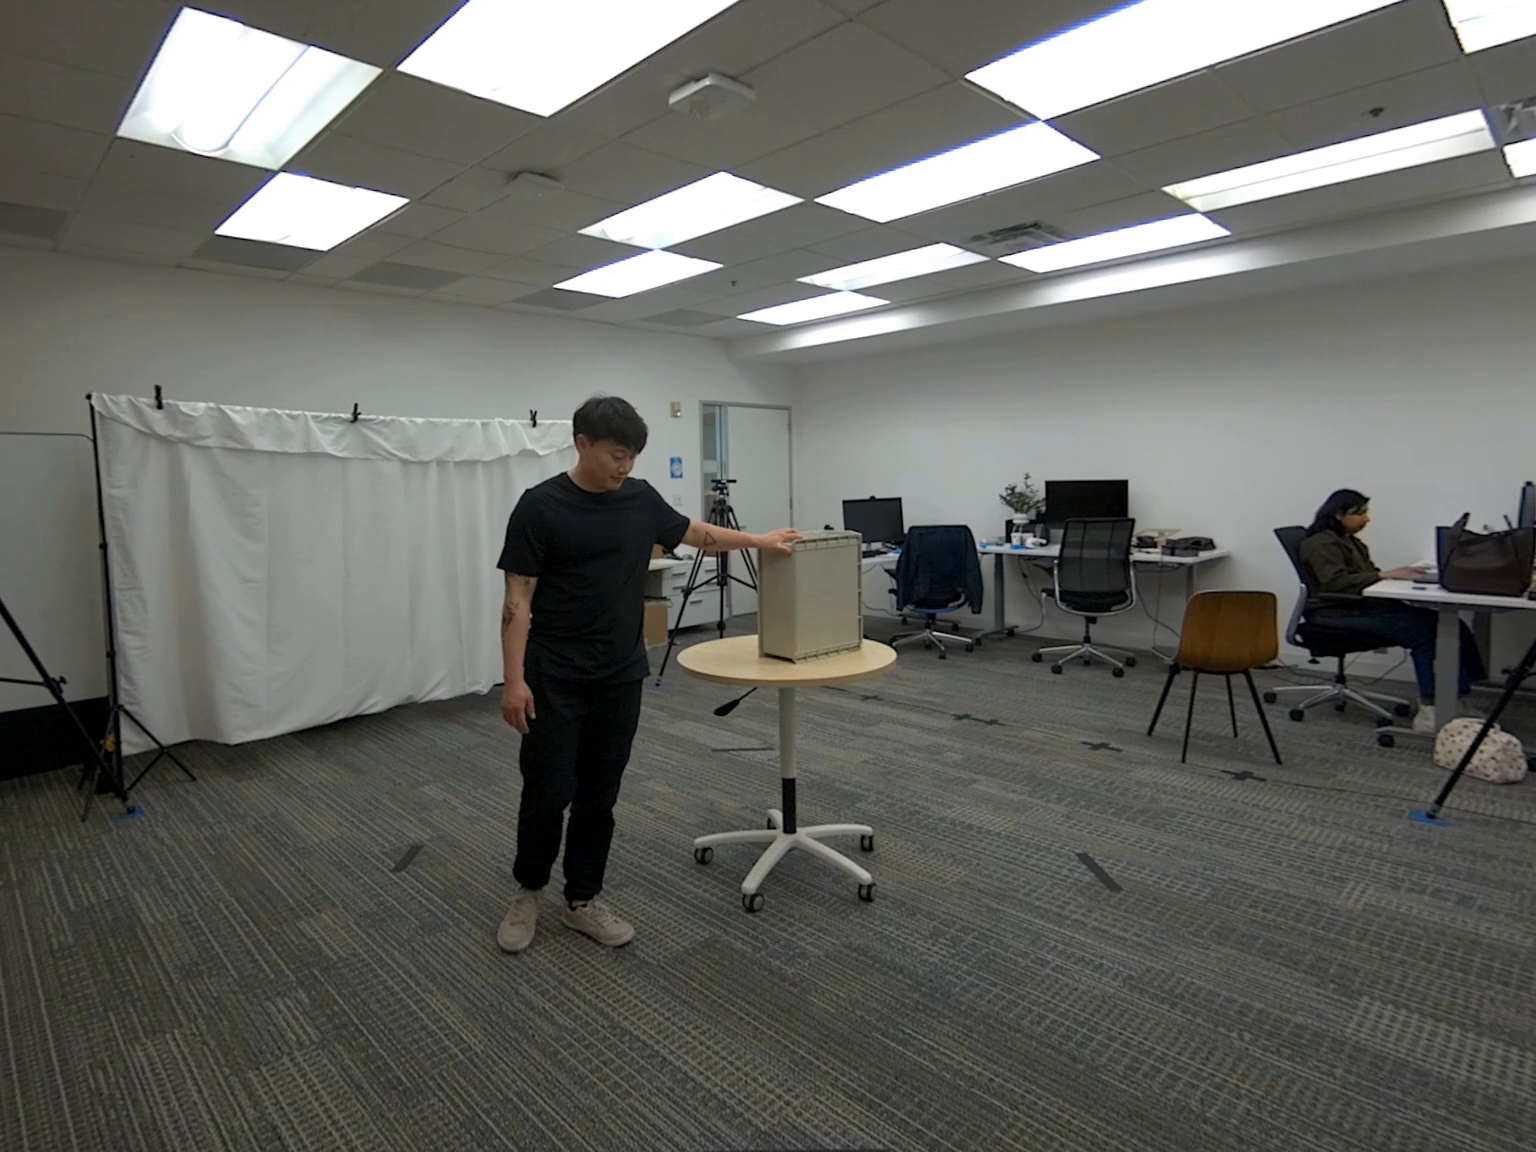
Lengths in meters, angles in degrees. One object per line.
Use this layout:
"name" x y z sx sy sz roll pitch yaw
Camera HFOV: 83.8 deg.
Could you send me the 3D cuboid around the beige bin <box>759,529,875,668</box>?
"beige bin" 0.173 0.063 2.995 0.367 0.420 0.195 -6 8 -41
